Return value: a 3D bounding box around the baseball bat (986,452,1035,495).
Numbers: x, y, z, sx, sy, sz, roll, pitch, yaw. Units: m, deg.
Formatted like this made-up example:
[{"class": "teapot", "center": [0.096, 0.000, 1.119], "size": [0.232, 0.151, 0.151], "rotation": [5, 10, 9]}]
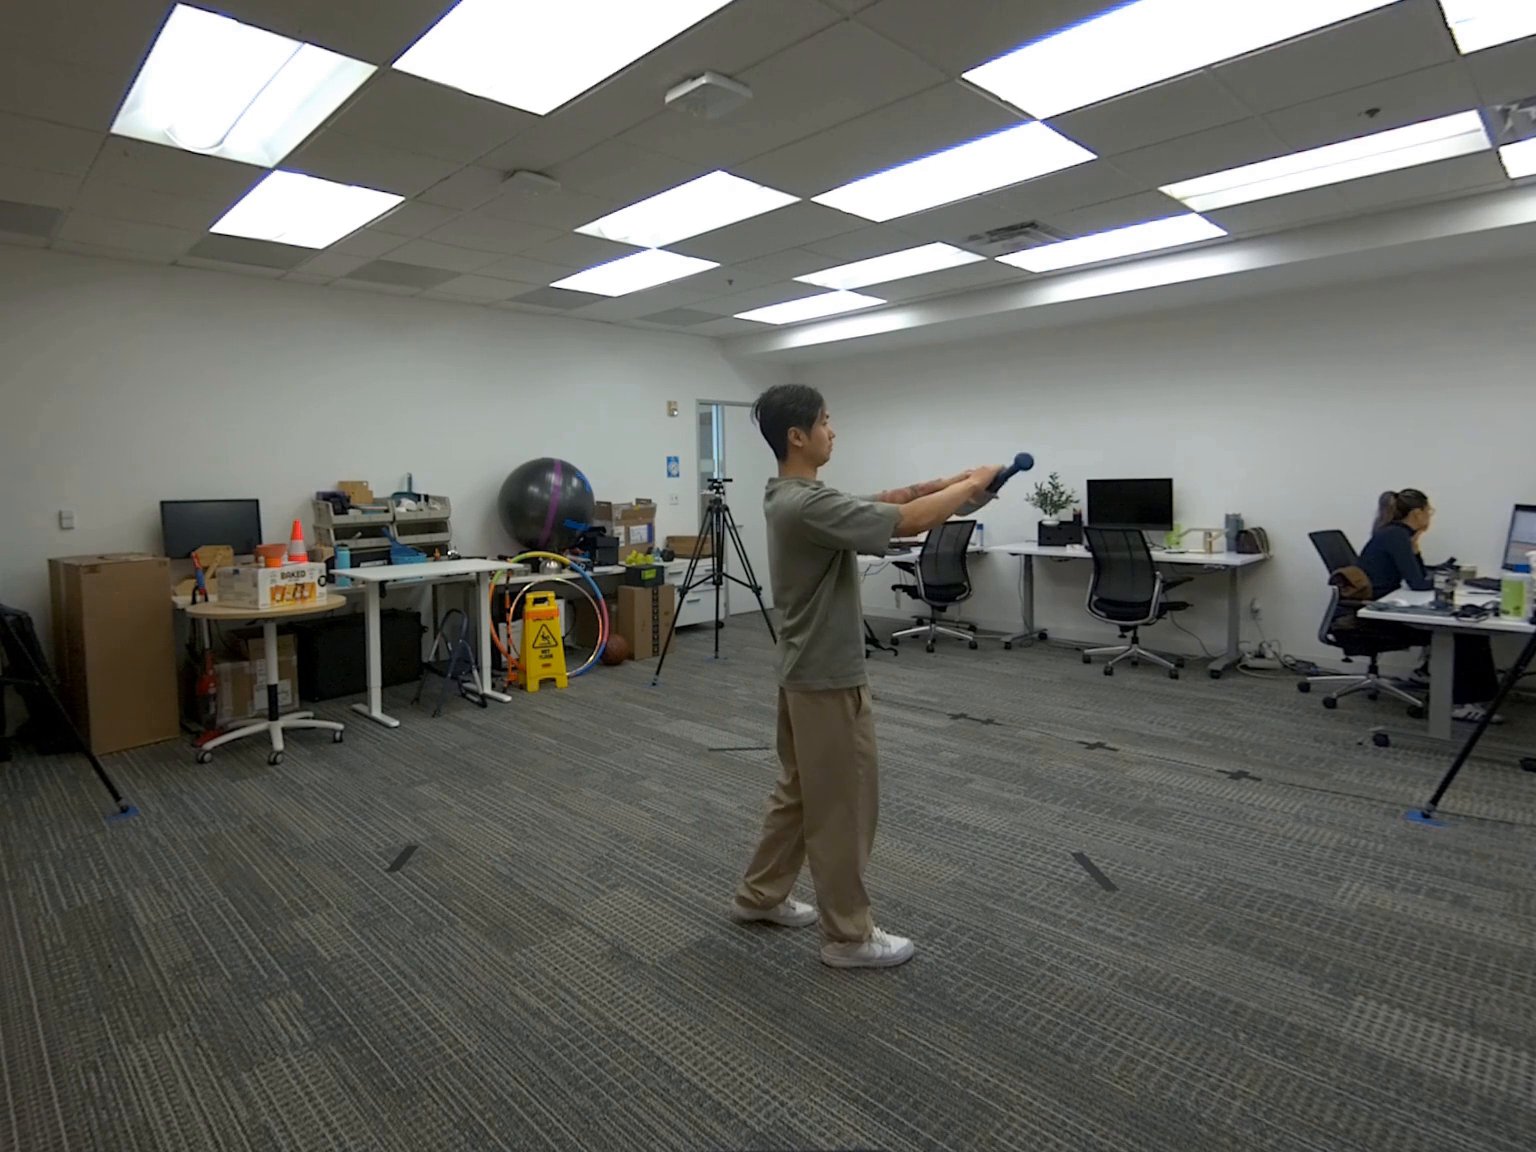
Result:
[{"class": "baseball bat", "center": [0.650, -0.263, 2.465], "size": [0.088, 0.090, 0.541], "rotation": [-1, -6, -6]}]
